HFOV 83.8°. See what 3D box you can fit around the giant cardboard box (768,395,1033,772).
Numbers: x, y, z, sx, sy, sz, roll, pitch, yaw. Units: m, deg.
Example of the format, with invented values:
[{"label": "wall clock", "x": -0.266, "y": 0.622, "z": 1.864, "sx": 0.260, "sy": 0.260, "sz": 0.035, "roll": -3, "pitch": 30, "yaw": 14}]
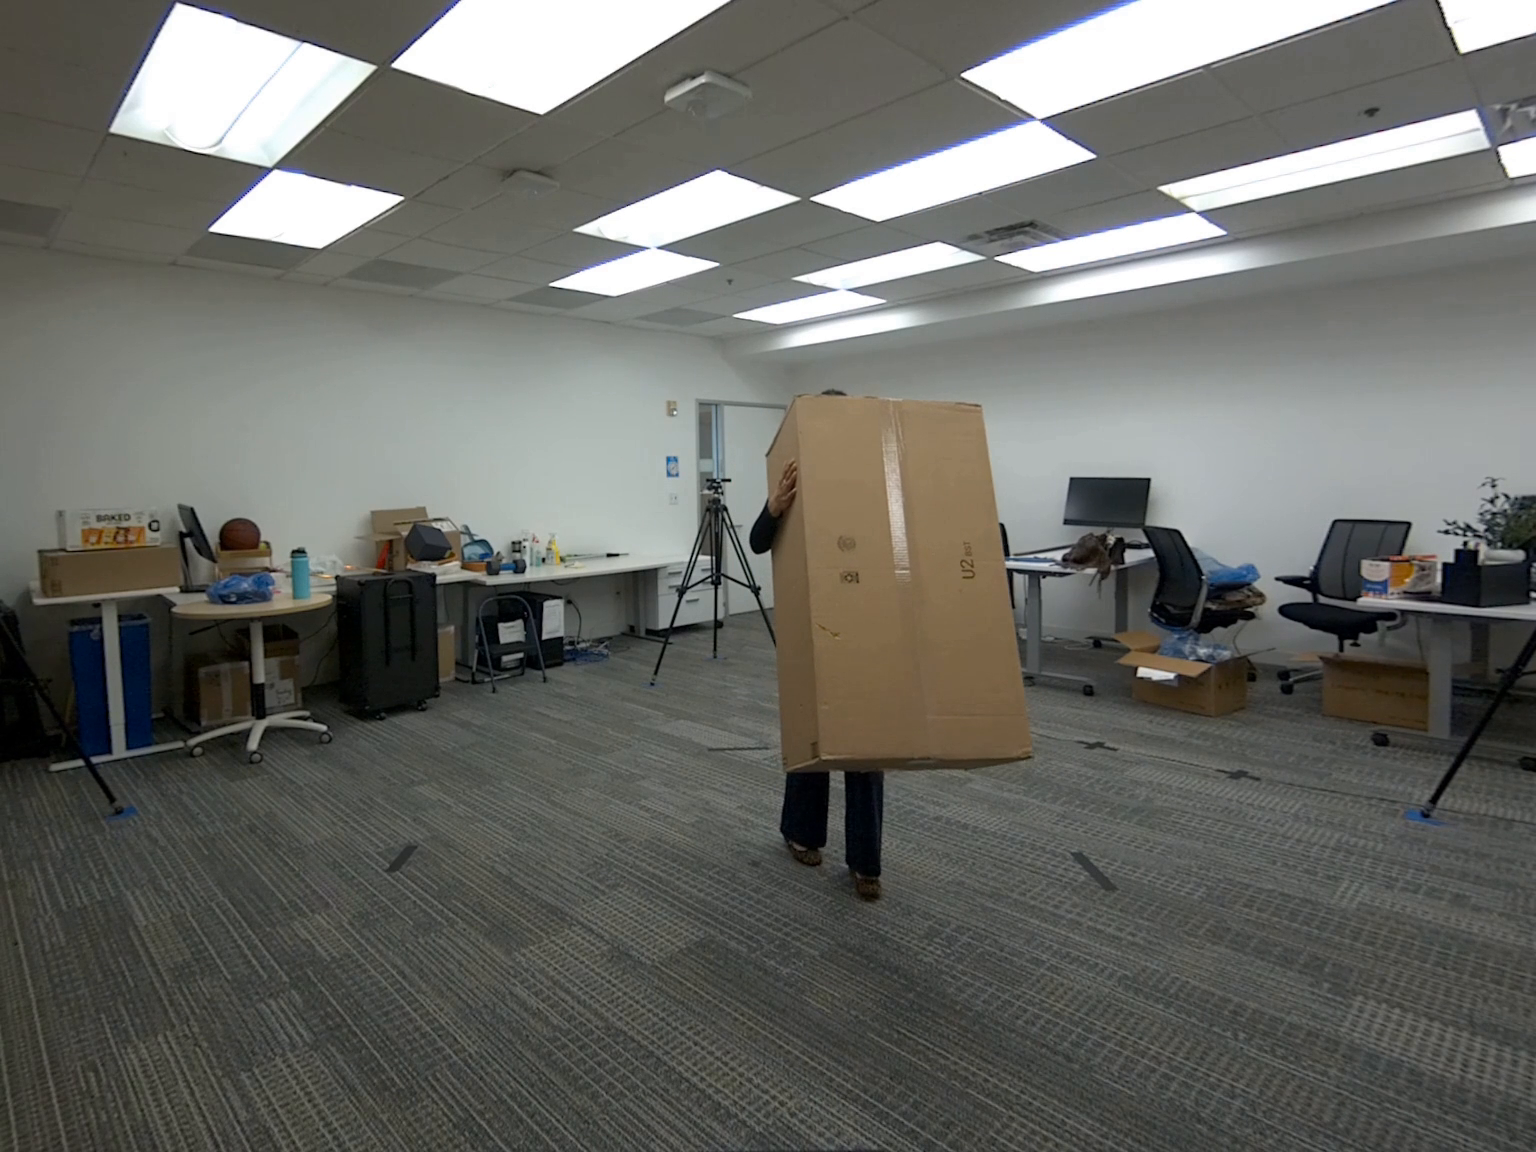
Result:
[{"label": "giant cardboard box", "x": 0.338, "y": 0.036, "z": 2.519, "sx": 0.572, "sy": 1.044, "sz": 0.423, "roll": 1, "pitch": -19, "yaw": -10}]
